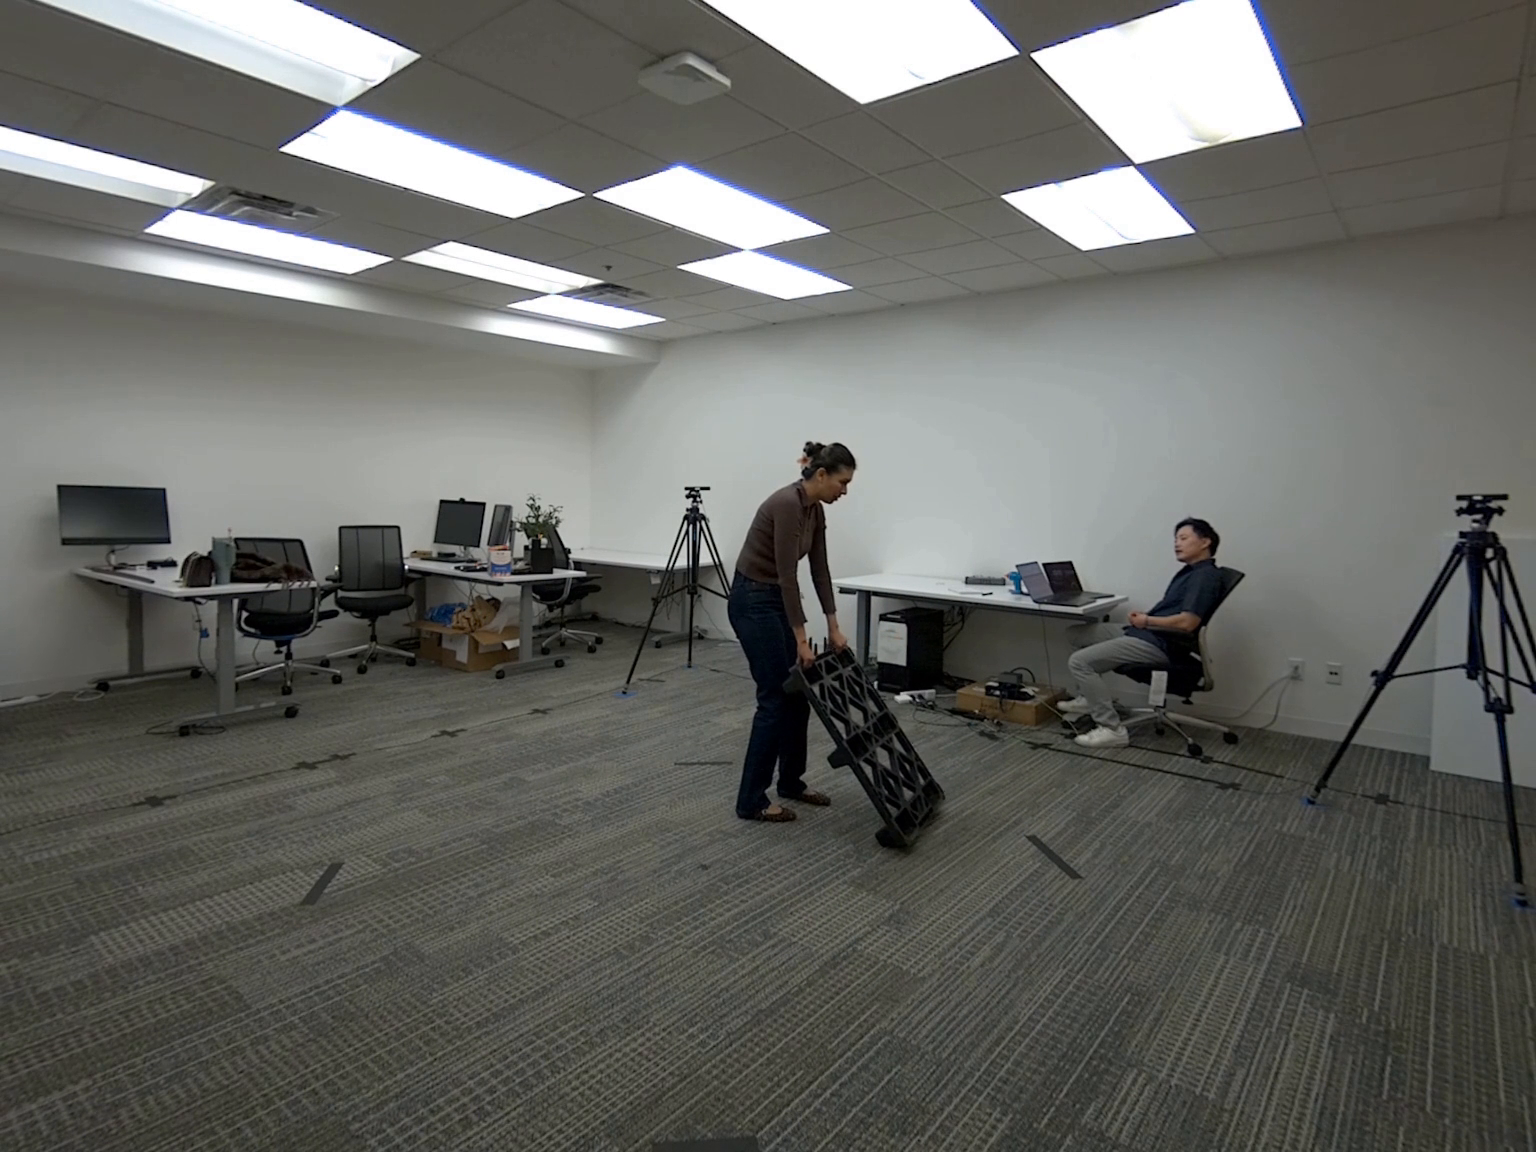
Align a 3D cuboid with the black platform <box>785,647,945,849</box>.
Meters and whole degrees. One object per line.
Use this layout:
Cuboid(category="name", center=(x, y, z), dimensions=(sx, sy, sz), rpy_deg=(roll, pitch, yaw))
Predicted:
Cuboid(category="black platform", center=(0.393, 0.689, 3.599), dimensions=(0.144, 0.821, 0.591), rpy_deg=(-38, -14, 22))
